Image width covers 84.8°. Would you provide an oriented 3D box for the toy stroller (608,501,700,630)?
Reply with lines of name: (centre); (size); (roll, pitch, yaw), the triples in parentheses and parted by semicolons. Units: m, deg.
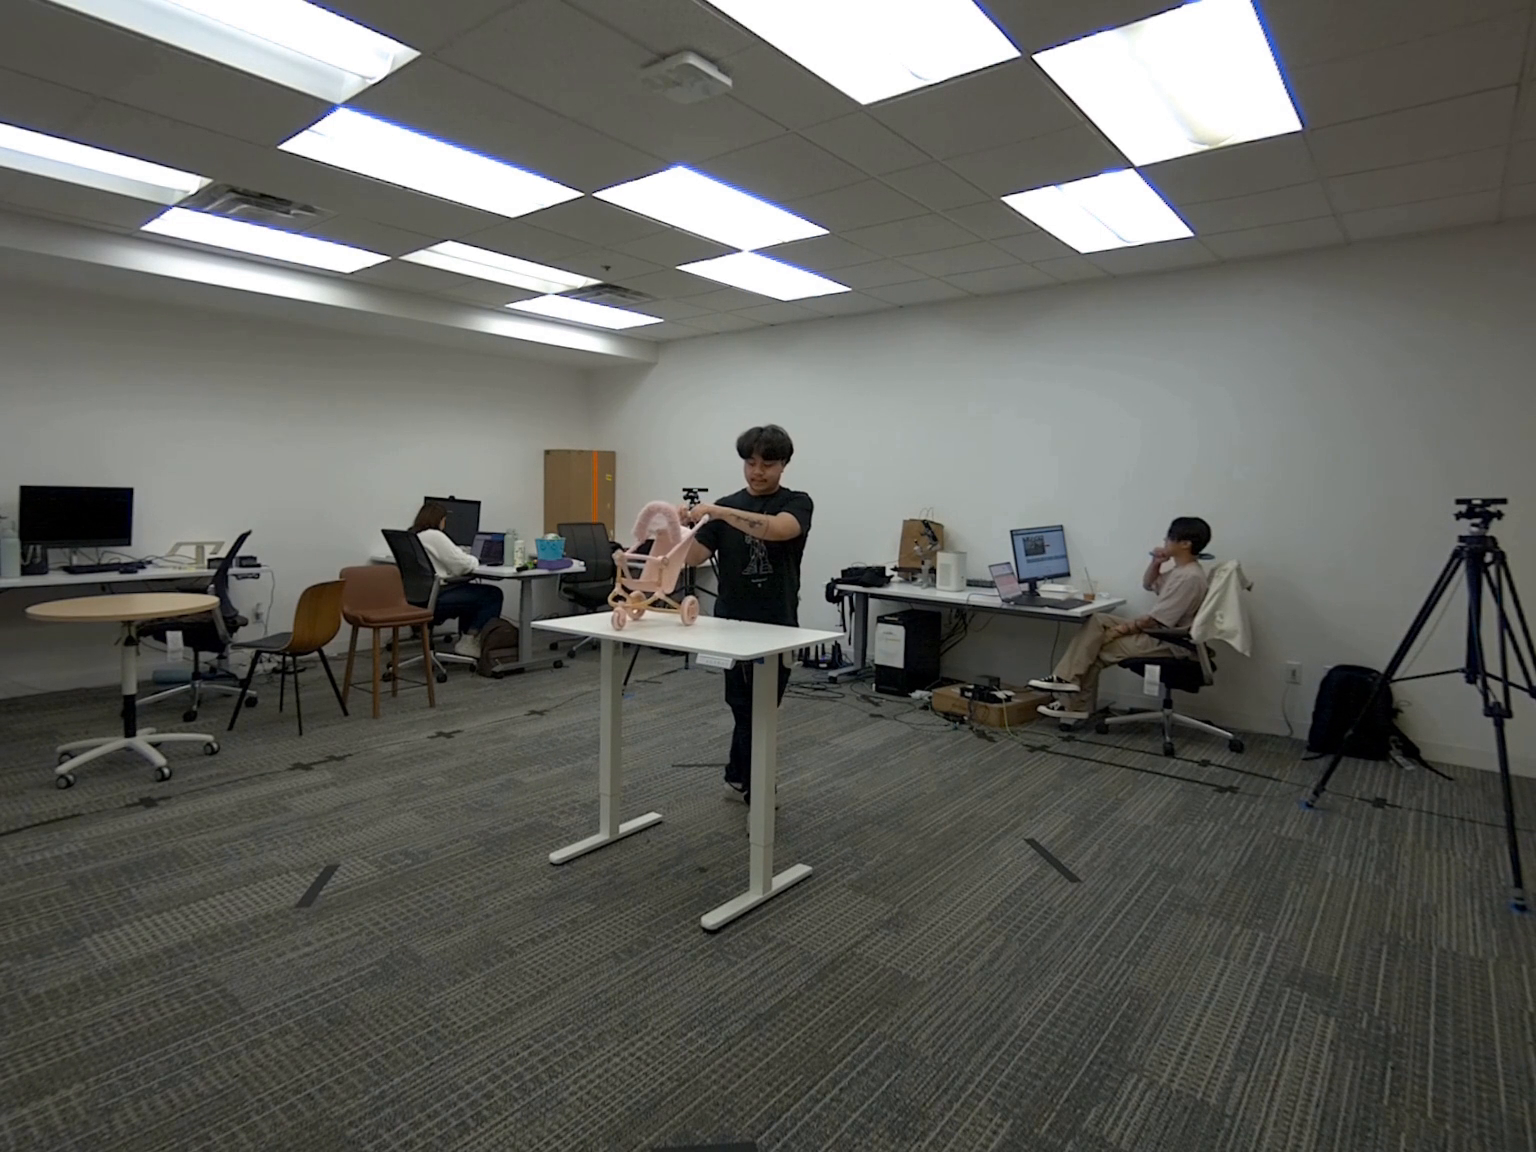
toy stroller: (-0.437, -0.044, 3.166); (0.290, 0.539, 0.328); (3, -12, 35)
